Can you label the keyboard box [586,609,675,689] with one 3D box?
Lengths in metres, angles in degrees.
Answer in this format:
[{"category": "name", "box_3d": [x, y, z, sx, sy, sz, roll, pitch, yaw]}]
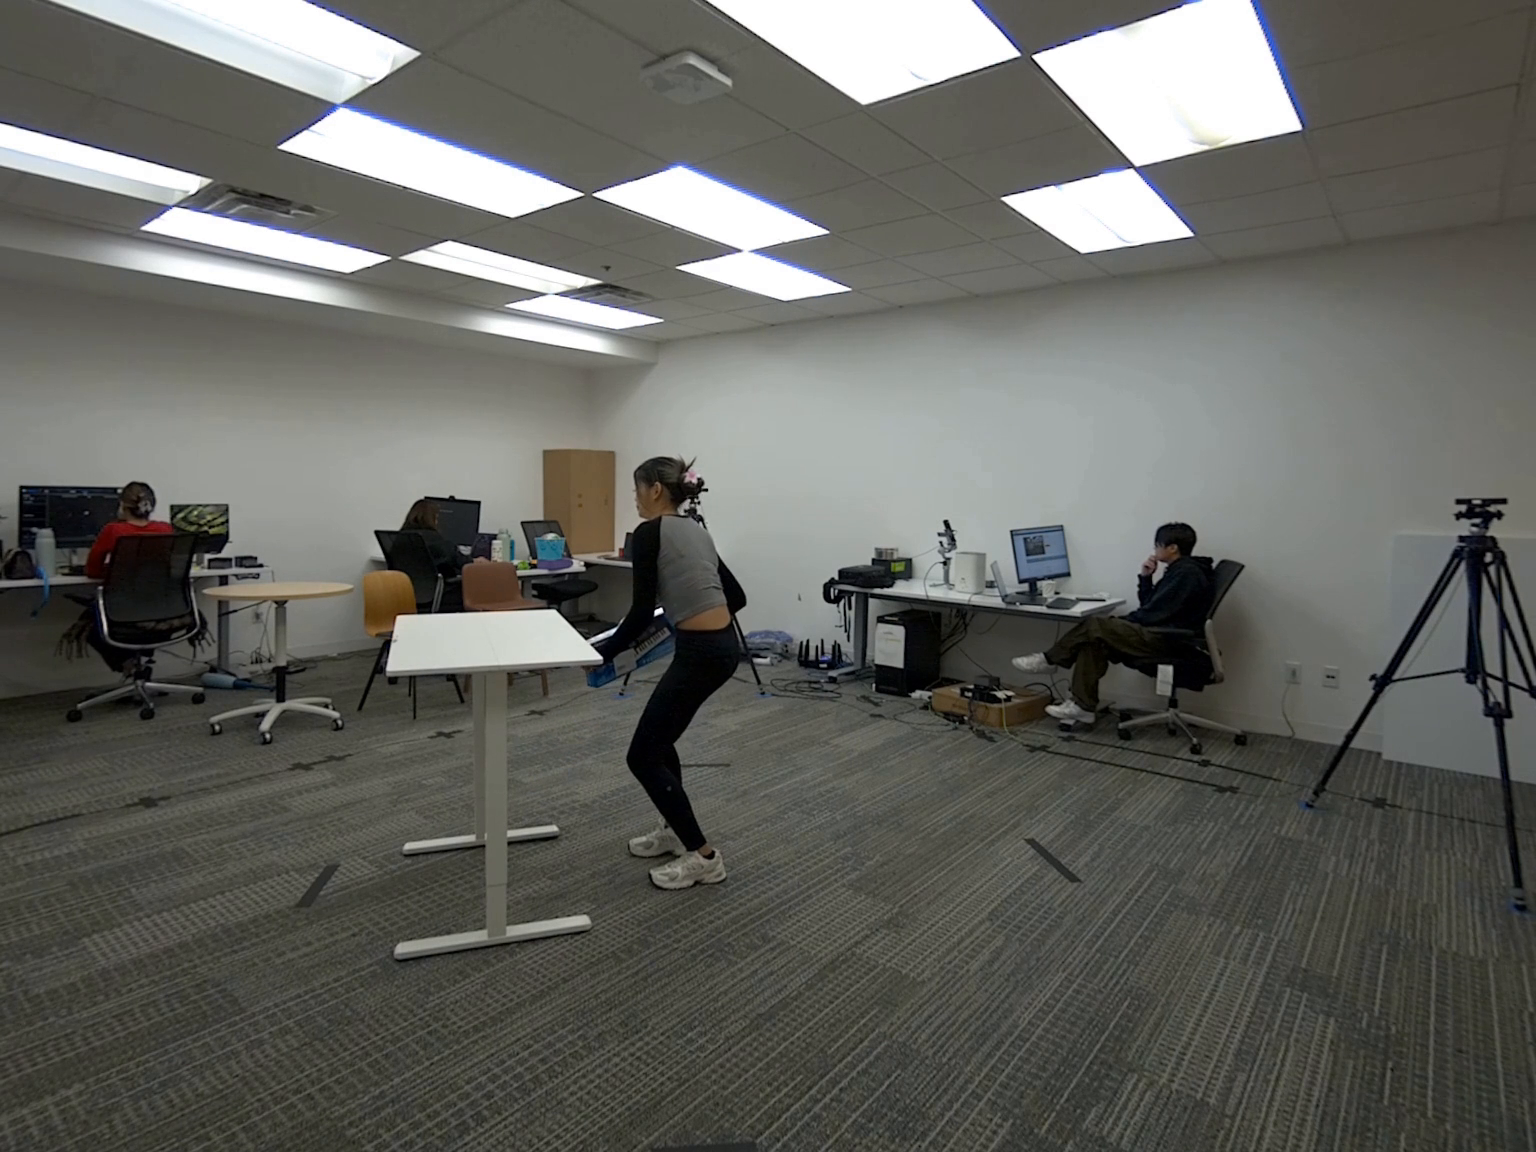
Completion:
[{"category": "keyboard box", "box_3d": [-0.533, 0.272, 3.288, 0.061, 0.173, 0.429, 1, 19, 44]}]
